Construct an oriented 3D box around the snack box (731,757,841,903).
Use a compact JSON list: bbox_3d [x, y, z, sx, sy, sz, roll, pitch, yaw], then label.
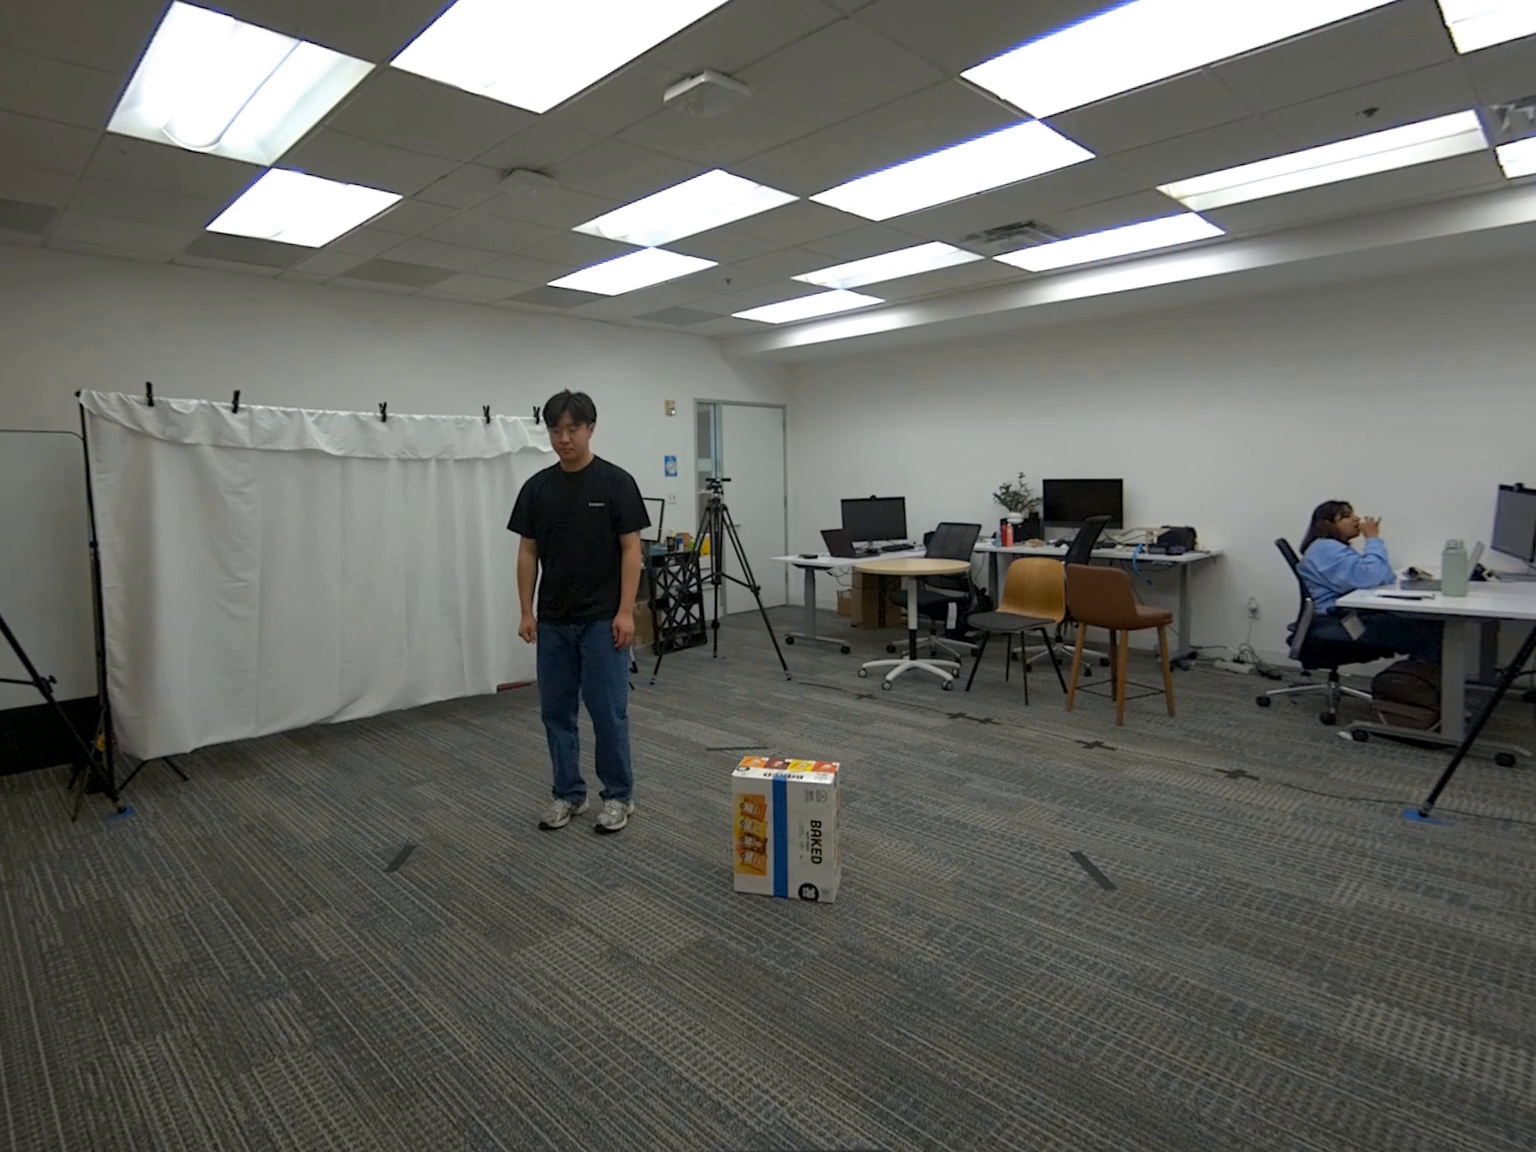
[{"bbox_3d":[0.072,0.856,2.927,0.345,0.403,0.203,0,5,15],"label":"snack box"}]
